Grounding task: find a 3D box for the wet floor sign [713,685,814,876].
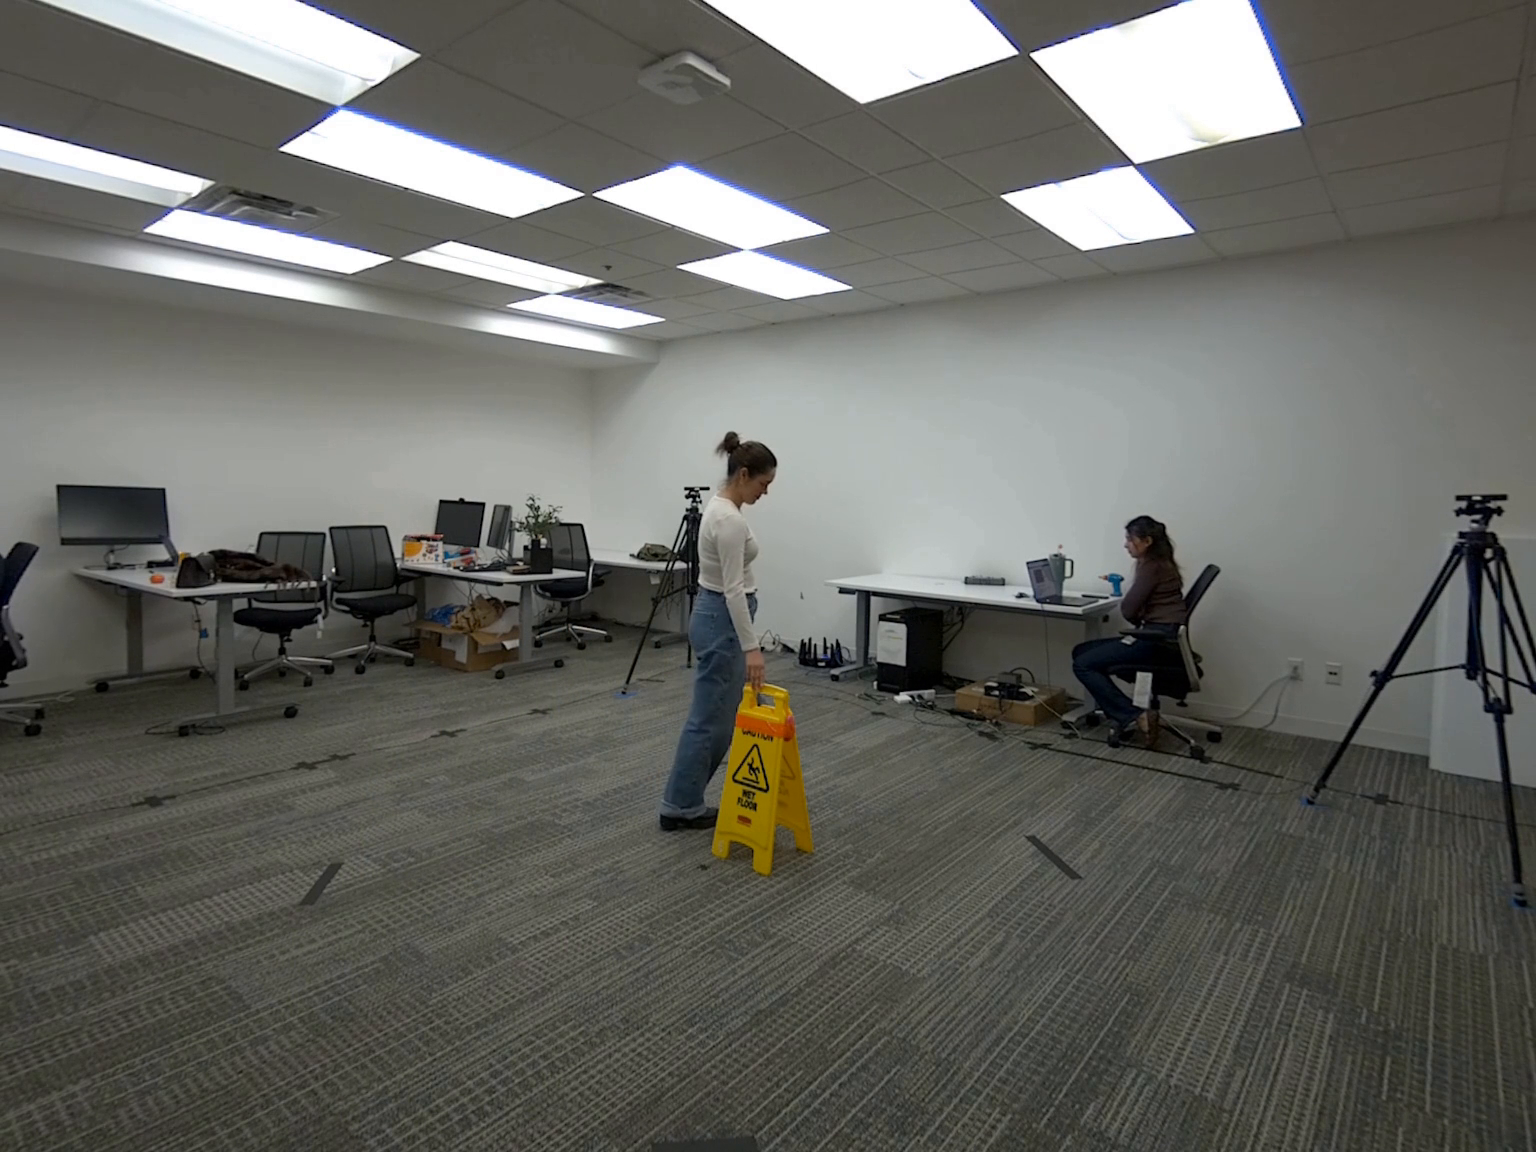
[{"bbox_3d":[-0.019,0.731,3.235,0.292,0.644,0.281,4,4,39],"label":"wet floor sign"}]
